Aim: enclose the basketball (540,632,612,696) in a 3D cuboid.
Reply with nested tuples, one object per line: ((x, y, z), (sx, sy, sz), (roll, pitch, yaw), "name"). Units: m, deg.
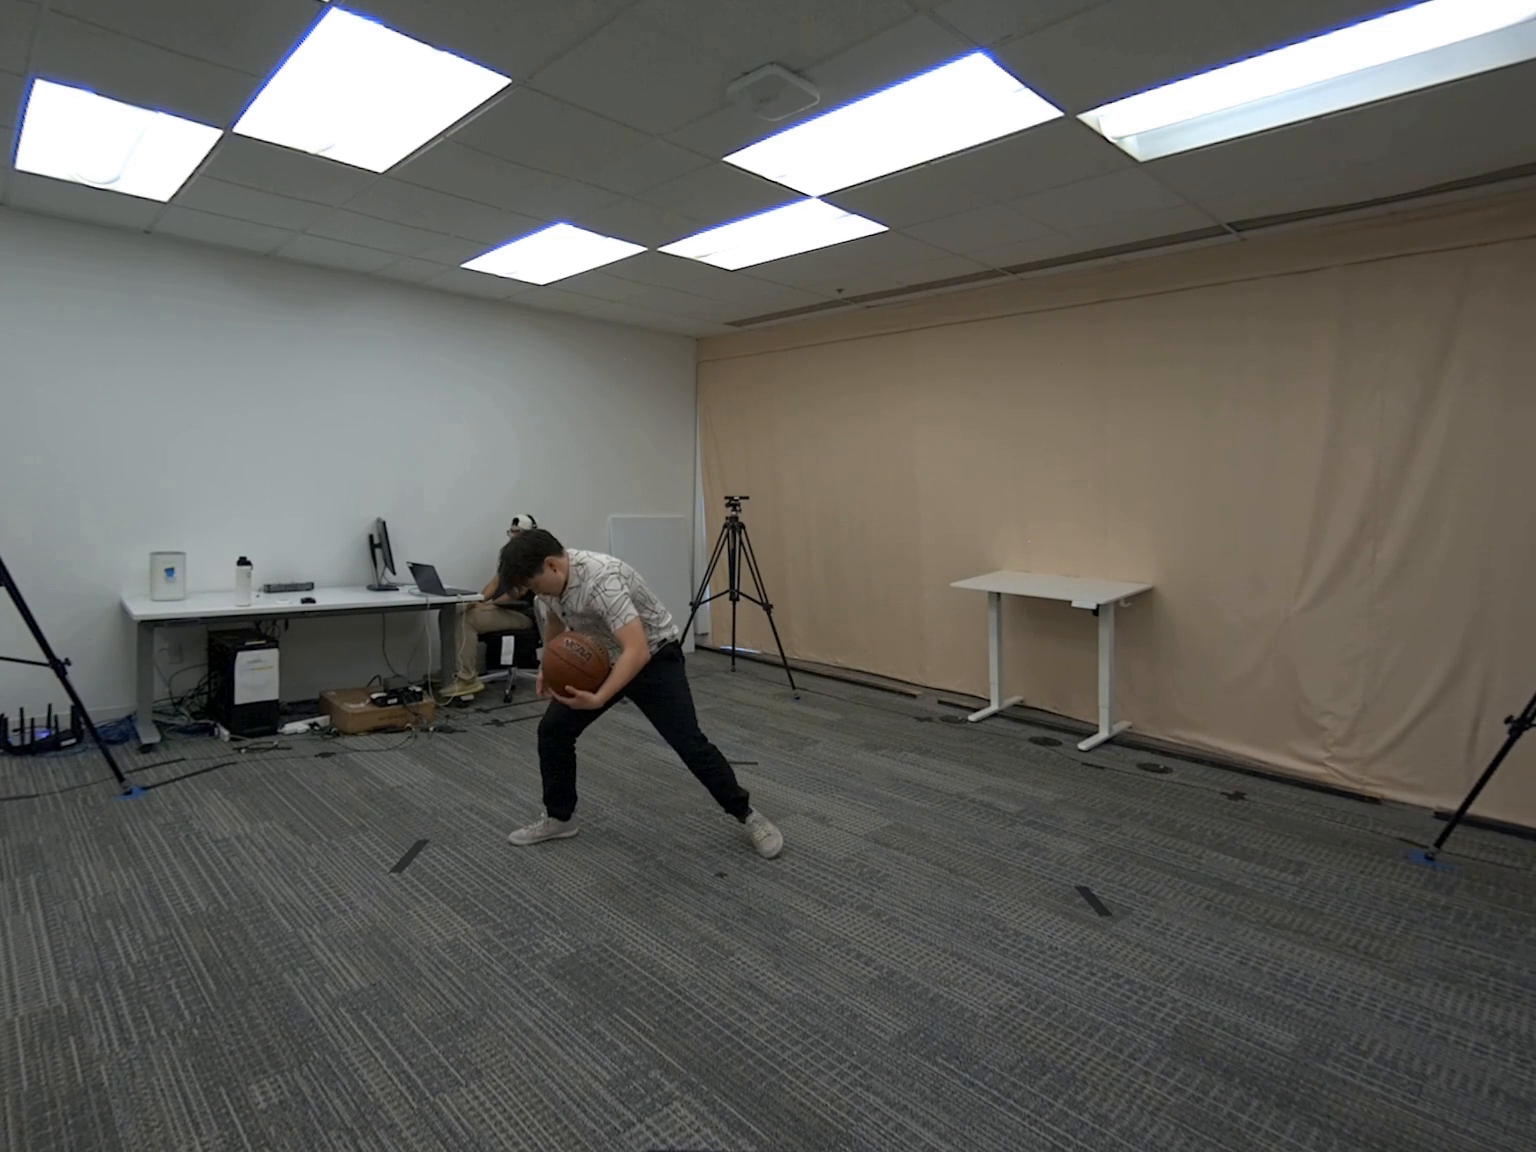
((-0.684, 0.319, 2.957), (0.236, 0.235, 0.237), (1, 4, -1), "basketball")
